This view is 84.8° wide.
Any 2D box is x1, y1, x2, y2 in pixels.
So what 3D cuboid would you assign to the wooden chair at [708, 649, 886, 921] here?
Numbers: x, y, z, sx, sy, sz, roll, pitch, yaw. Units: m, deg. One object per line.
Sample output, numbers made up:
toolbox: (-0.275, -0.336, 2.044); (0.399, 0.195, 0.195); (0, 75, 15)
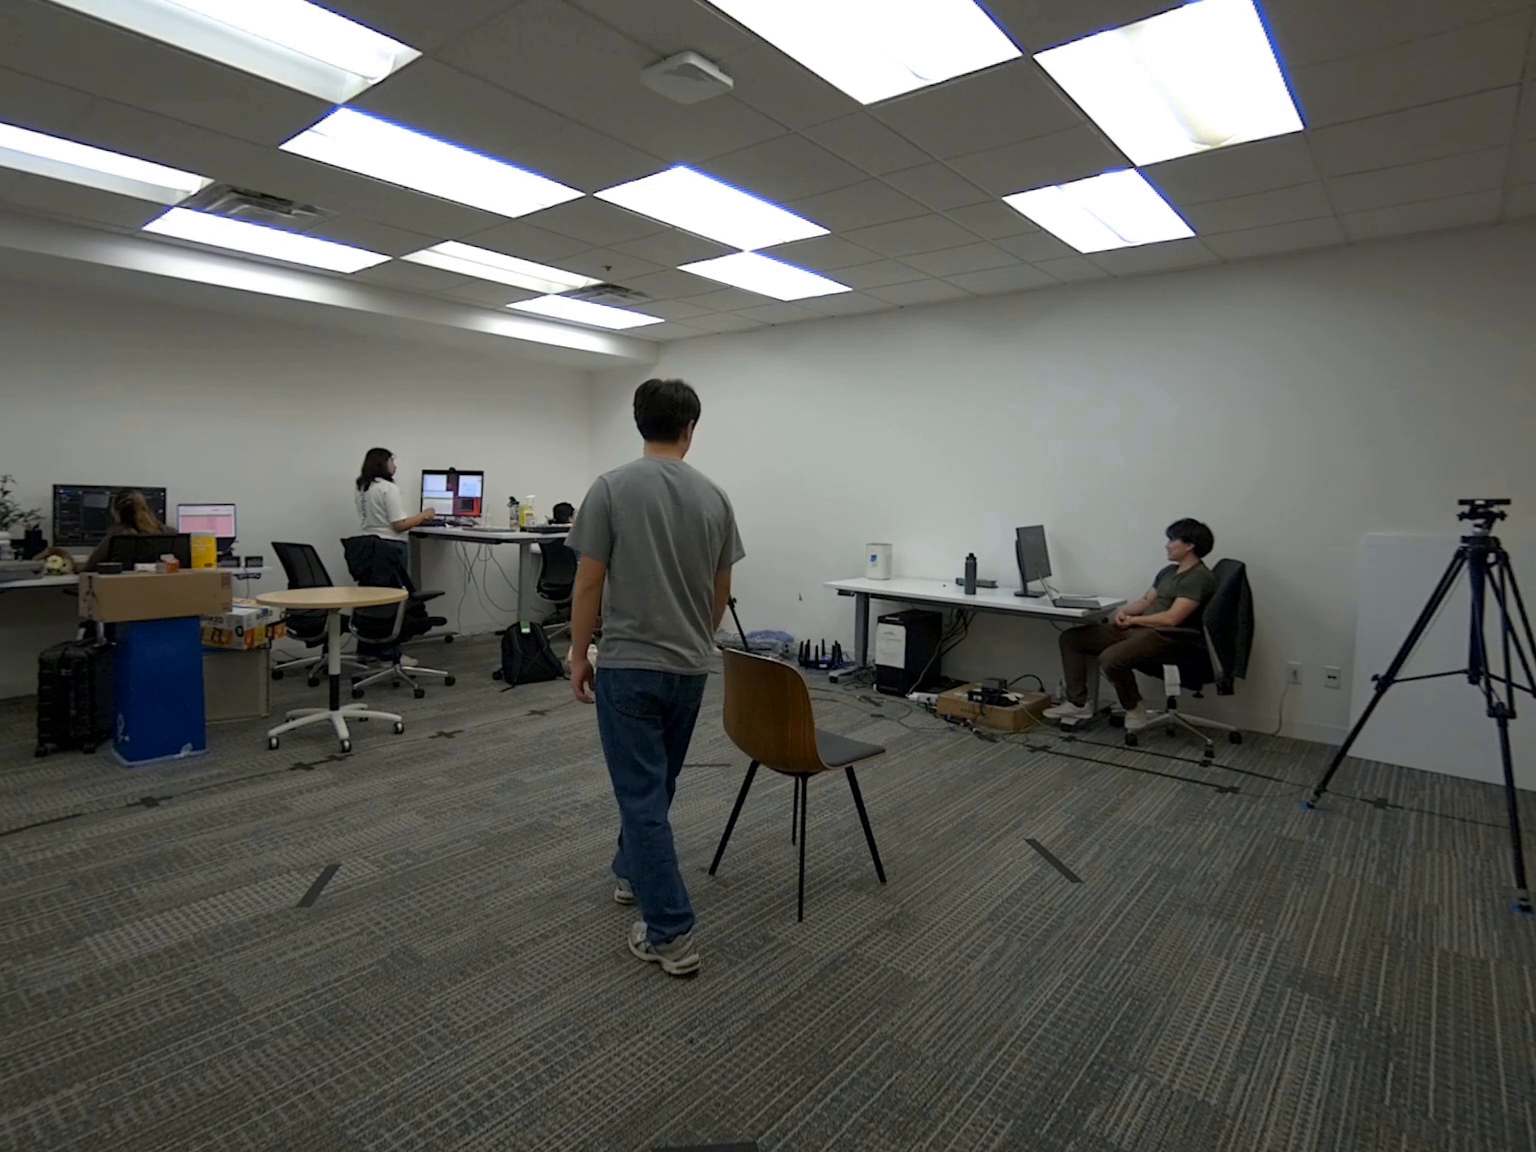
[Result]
wooden chair: (0.108, 0.656, 3.035); (0.509, 0.872, 0.494); (-8, 8, -43)
